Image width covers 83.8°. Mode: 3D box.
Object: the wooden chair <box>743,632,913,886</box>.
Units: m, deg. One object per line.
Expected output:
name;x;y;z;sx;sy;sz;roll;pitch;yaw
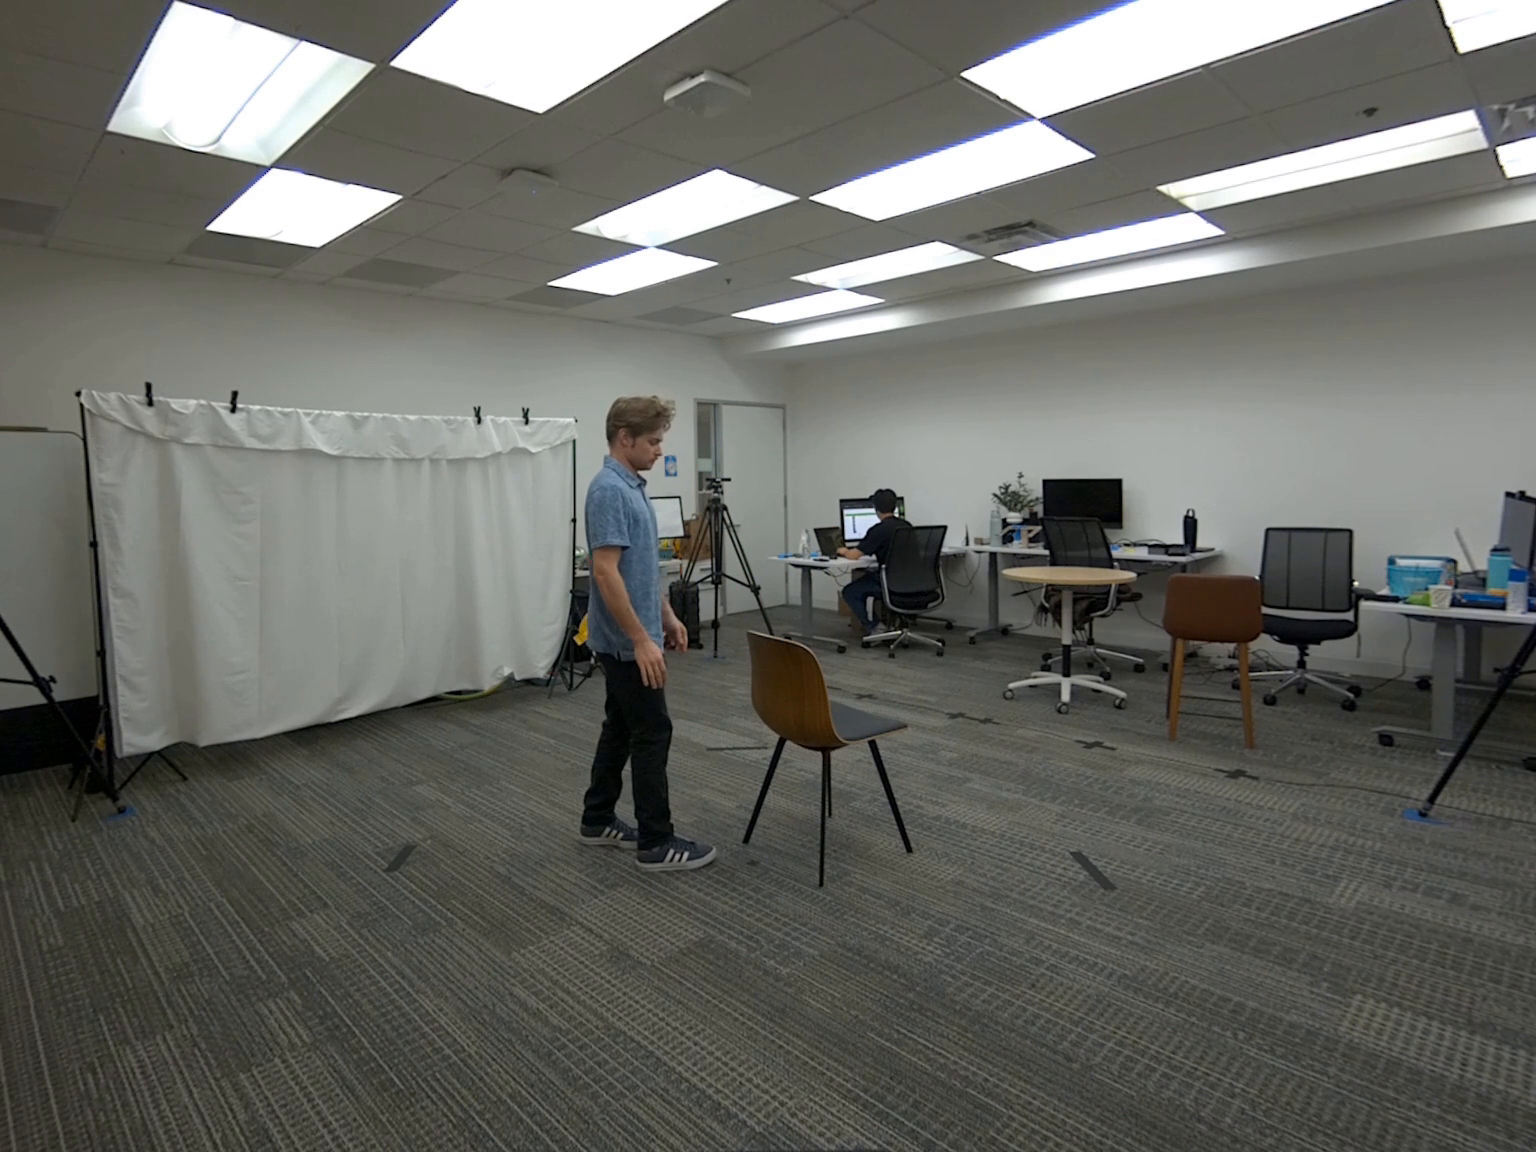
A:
wooden chair;0.217;0.598;3.187;0.511;0.872;0.492;-9;8;-36
